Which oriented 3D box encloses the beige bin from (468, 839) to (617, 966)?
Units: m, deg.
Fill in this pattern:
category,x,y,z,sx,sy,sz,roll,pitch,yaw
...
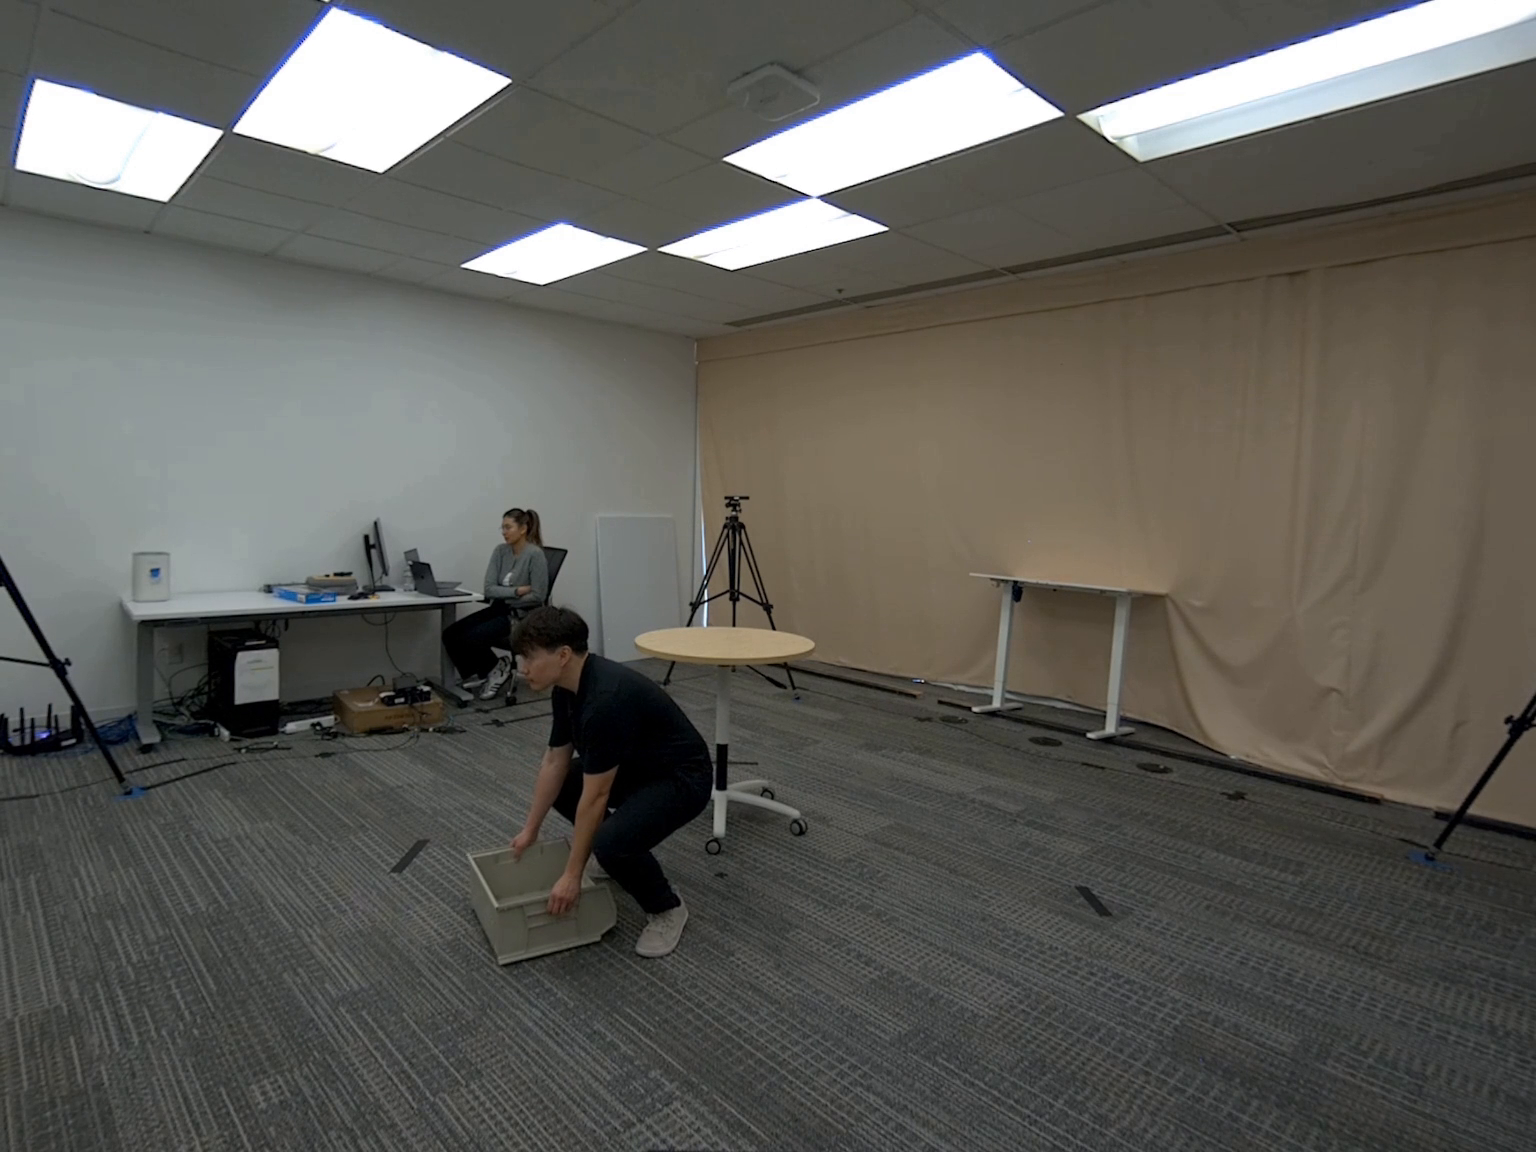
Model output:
category,x,y,z,sx,sy,sz,roll,pitch,yaw
beige bin,-0.754,1.026,2.723,0.370,0.188,0.432,-2,6,-28
